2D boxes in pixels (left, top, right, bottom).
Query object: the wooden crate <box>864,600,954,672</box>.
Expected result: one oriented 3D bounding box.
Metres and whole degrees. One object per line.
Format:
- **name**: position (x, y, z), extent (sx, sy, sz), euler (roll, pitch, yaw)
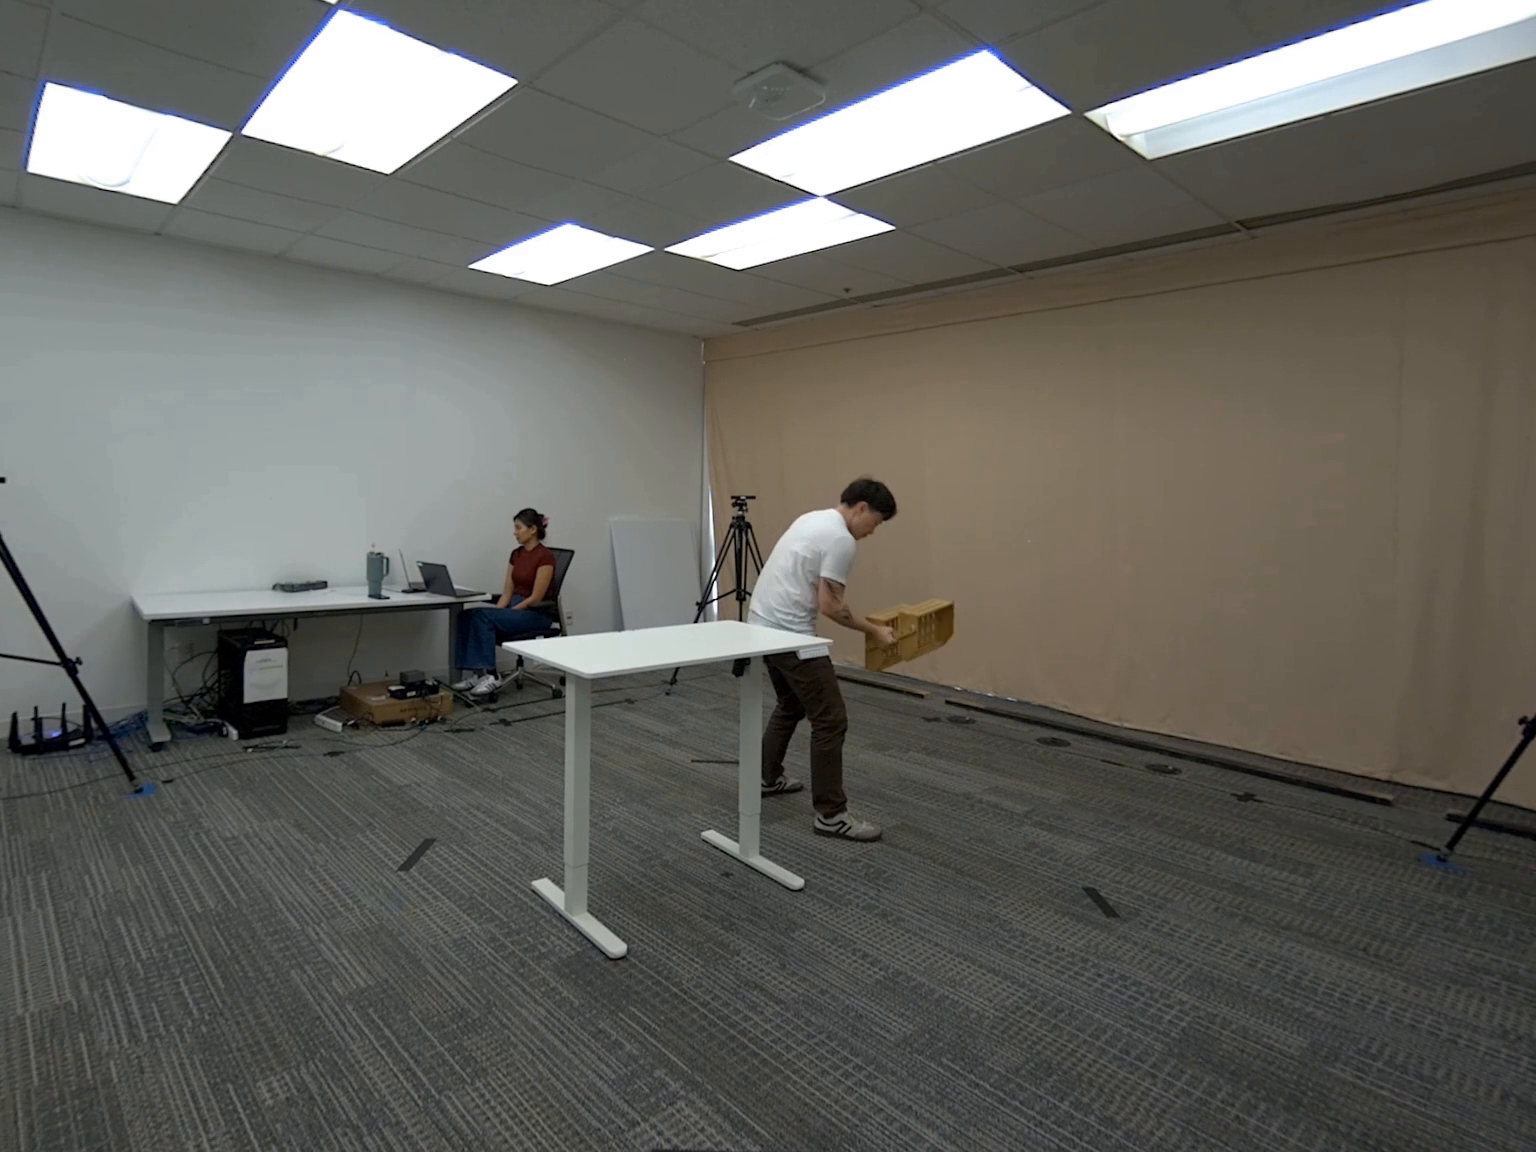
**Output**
- **wooden crate**: position (0.605, 0.266, 3.687), extent (0.280, 0.299, 0.319), euler (9, 16, 42)
